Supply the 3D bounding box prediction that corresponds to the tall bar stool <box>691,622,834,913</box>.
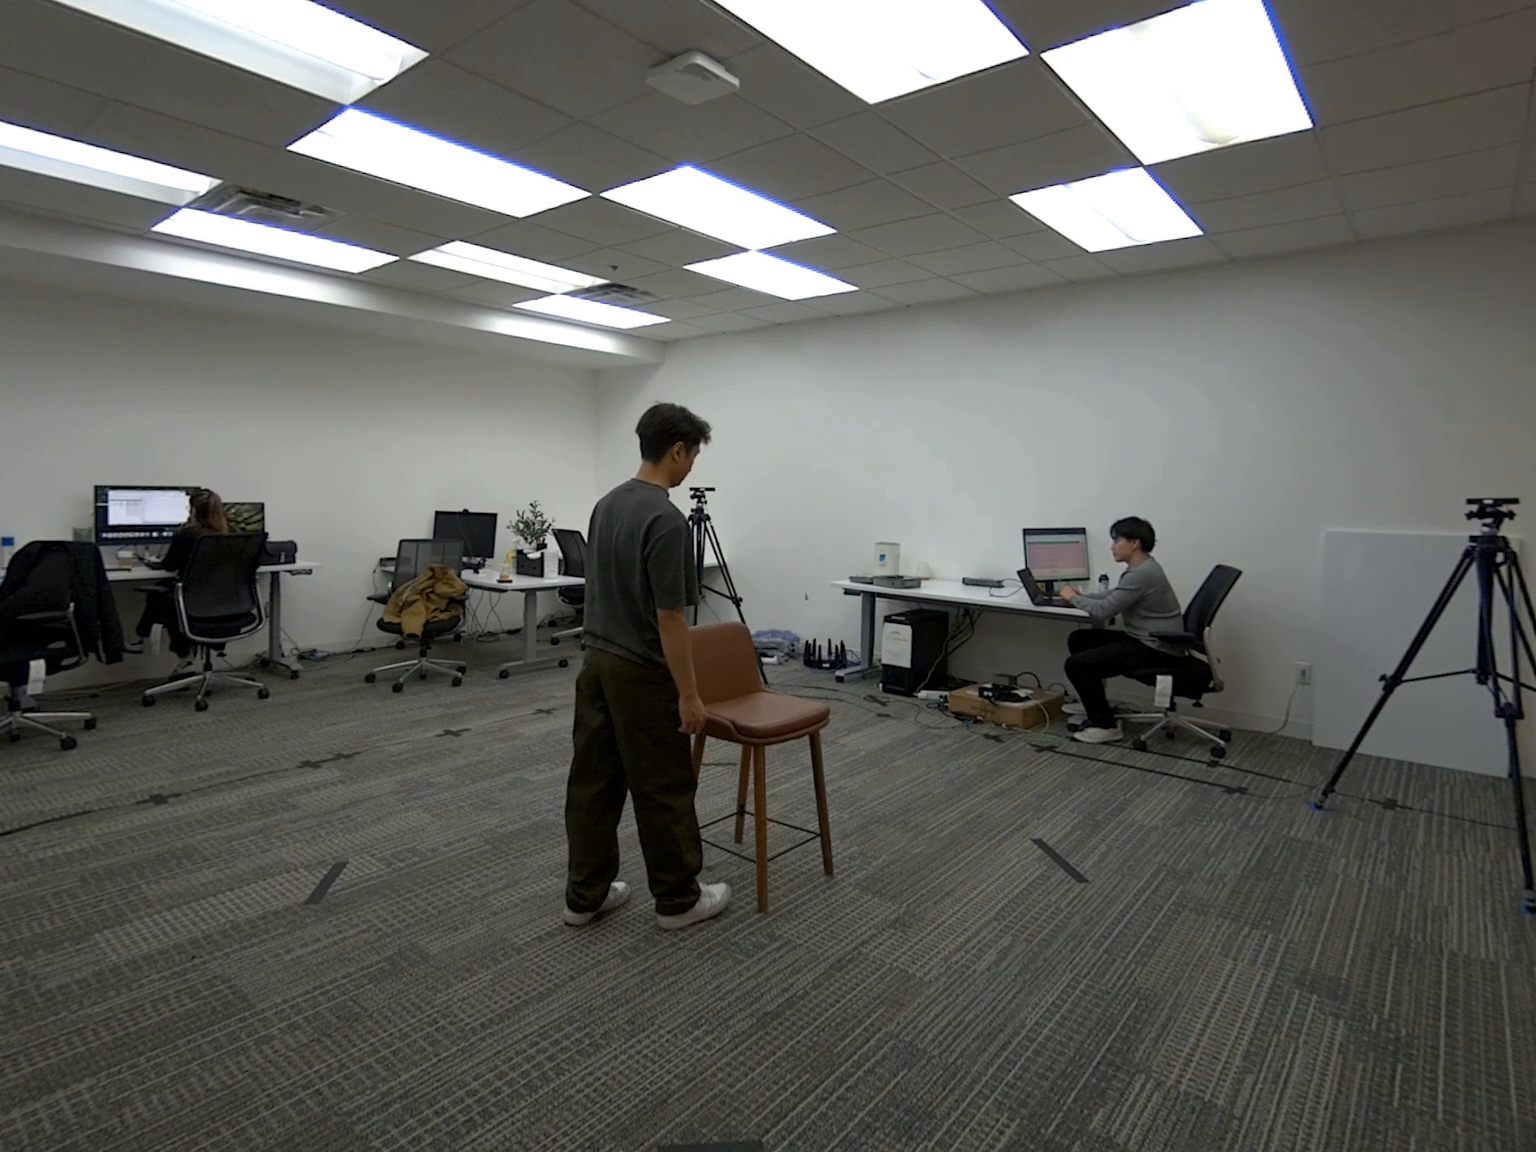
[{"bbox_3d":[-0.060,0.639,3.068,0.483,0.888,0.442,2,3,40],"label":"tall bar stool"}]
